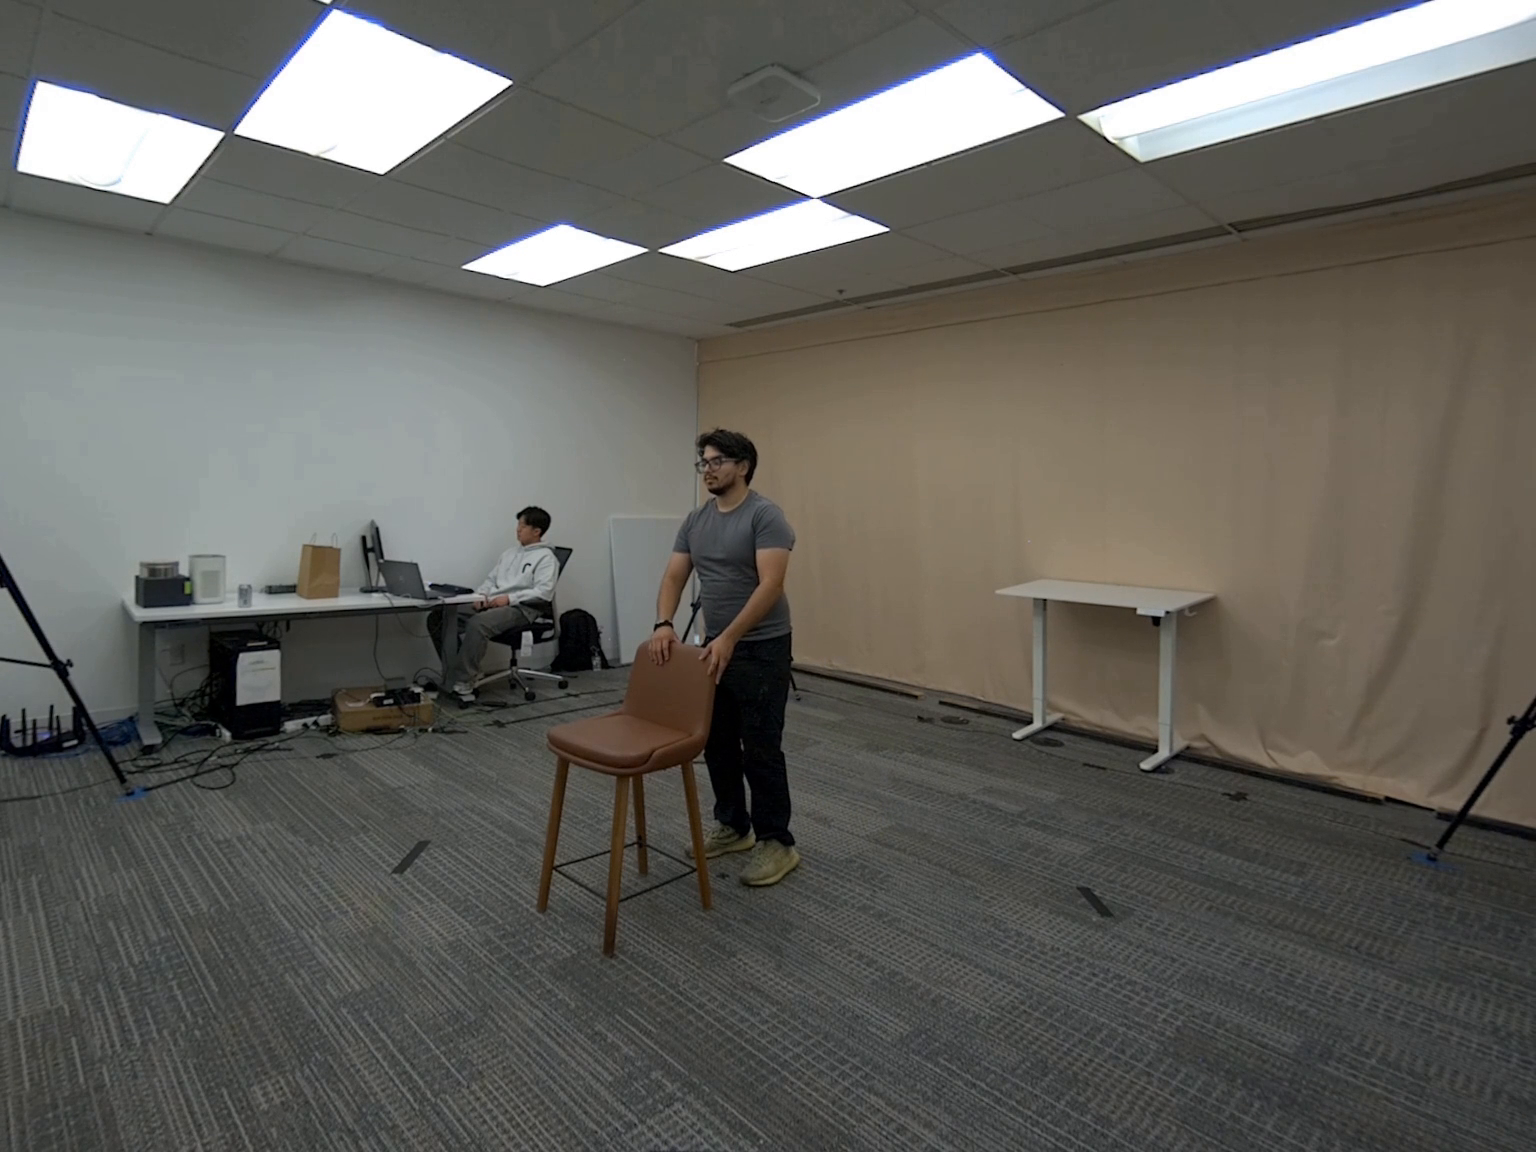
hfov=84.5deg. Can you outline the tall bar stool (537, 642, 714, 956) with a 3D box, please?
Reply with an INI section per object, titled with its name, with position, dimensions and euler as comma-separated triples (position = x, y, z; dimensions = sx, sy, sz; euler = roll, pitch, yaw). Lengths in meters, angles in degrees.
[tall bar stool]
position = -0.462, 0.688, 2.816
dimensions = 0.468, 0.888, 0.456
euler = 5, 3, 45
